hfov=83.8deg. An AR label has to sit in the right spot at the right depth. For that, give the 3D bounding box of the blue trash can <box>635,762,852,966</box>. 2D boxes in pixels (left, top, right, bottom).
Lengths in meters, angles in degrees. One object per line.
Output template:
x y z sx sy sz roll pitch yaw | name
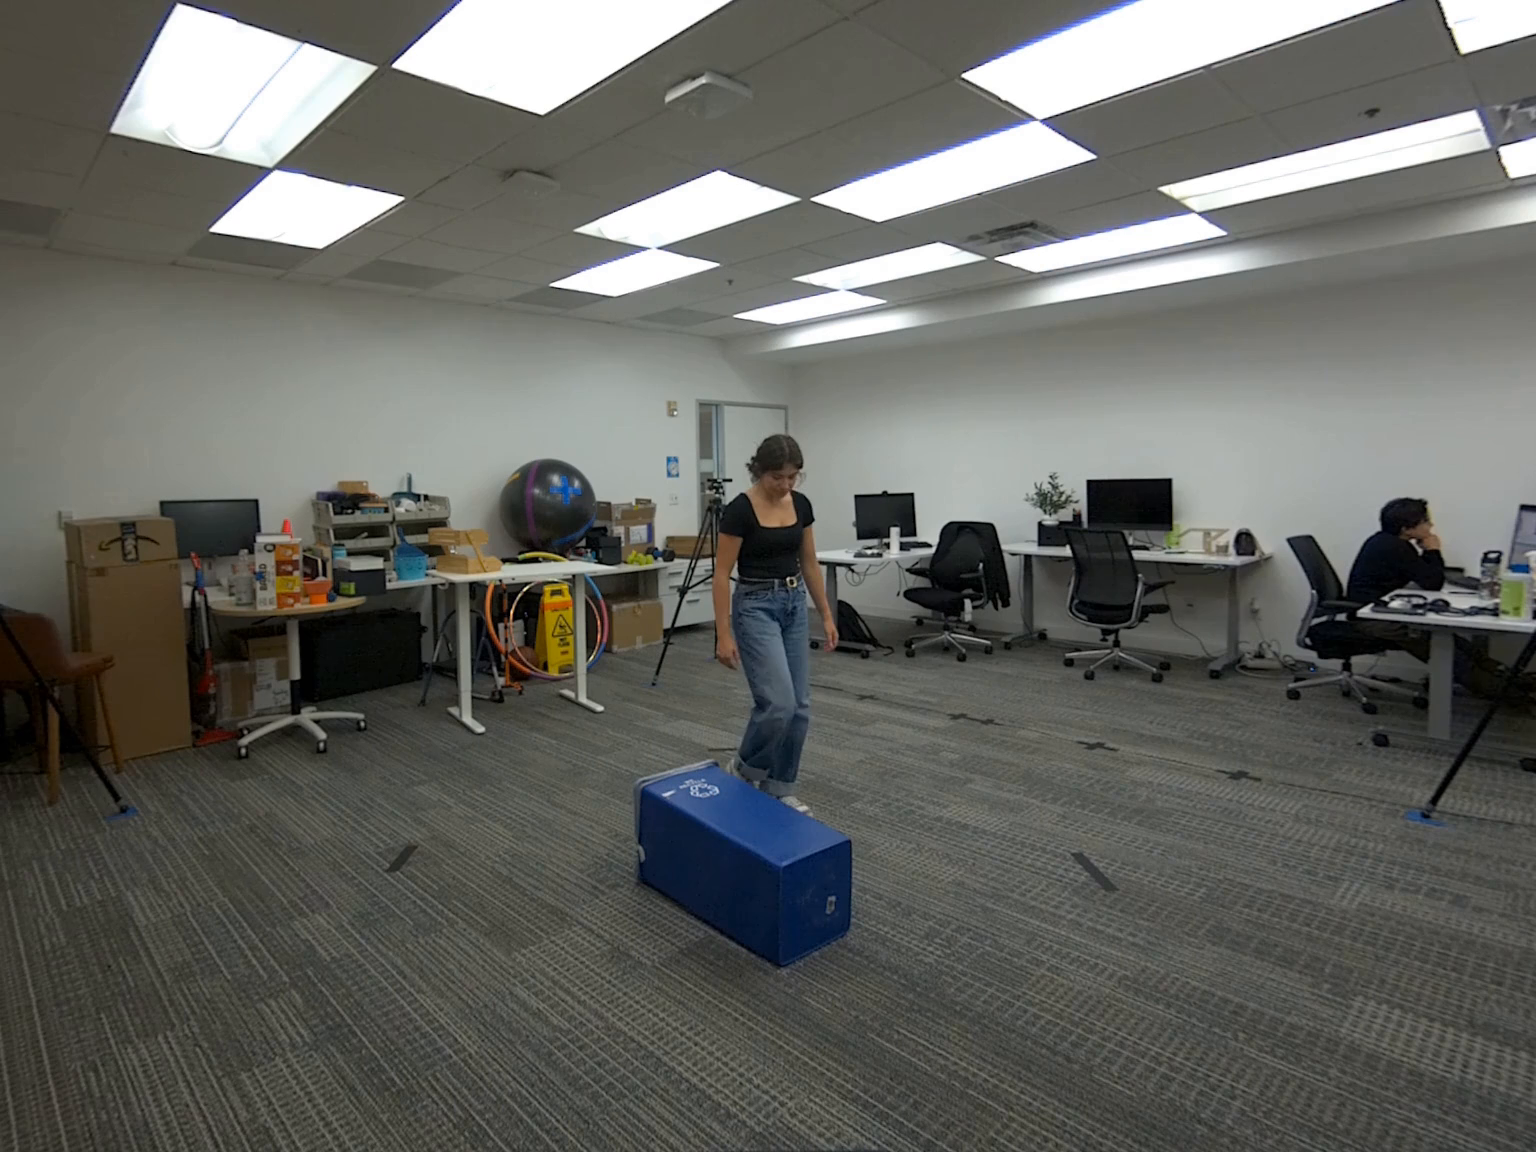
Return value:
-0.086 0.916 2.789 0.364 0.376 0.737 -4 10 -40 | blue trash can
